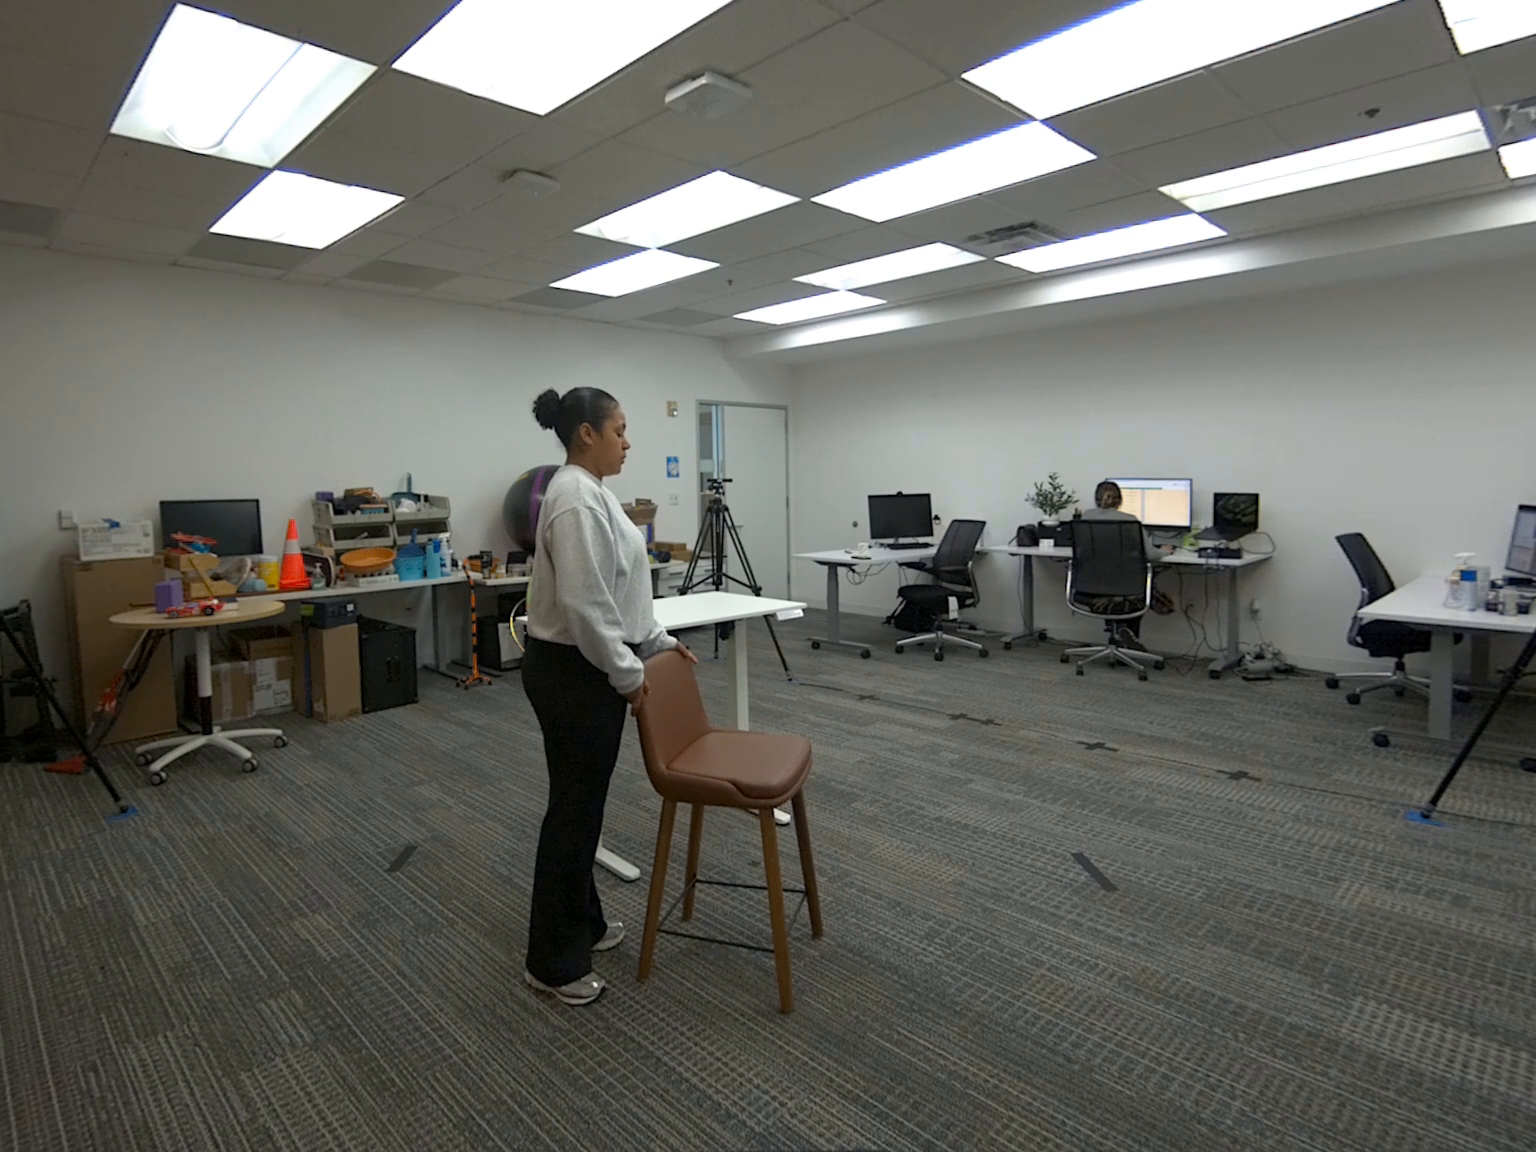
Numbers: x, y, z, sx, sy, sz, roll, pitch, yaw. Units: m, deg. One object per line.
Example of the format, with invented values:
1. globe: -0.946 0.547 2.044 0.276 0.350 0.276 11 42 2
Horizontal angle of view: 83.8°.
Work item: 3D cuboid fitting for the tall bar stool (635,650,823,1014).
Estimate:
1. tall bar stool: -0.115 0.685 2.472 0.476 0.887 0.450 -1 4 18
